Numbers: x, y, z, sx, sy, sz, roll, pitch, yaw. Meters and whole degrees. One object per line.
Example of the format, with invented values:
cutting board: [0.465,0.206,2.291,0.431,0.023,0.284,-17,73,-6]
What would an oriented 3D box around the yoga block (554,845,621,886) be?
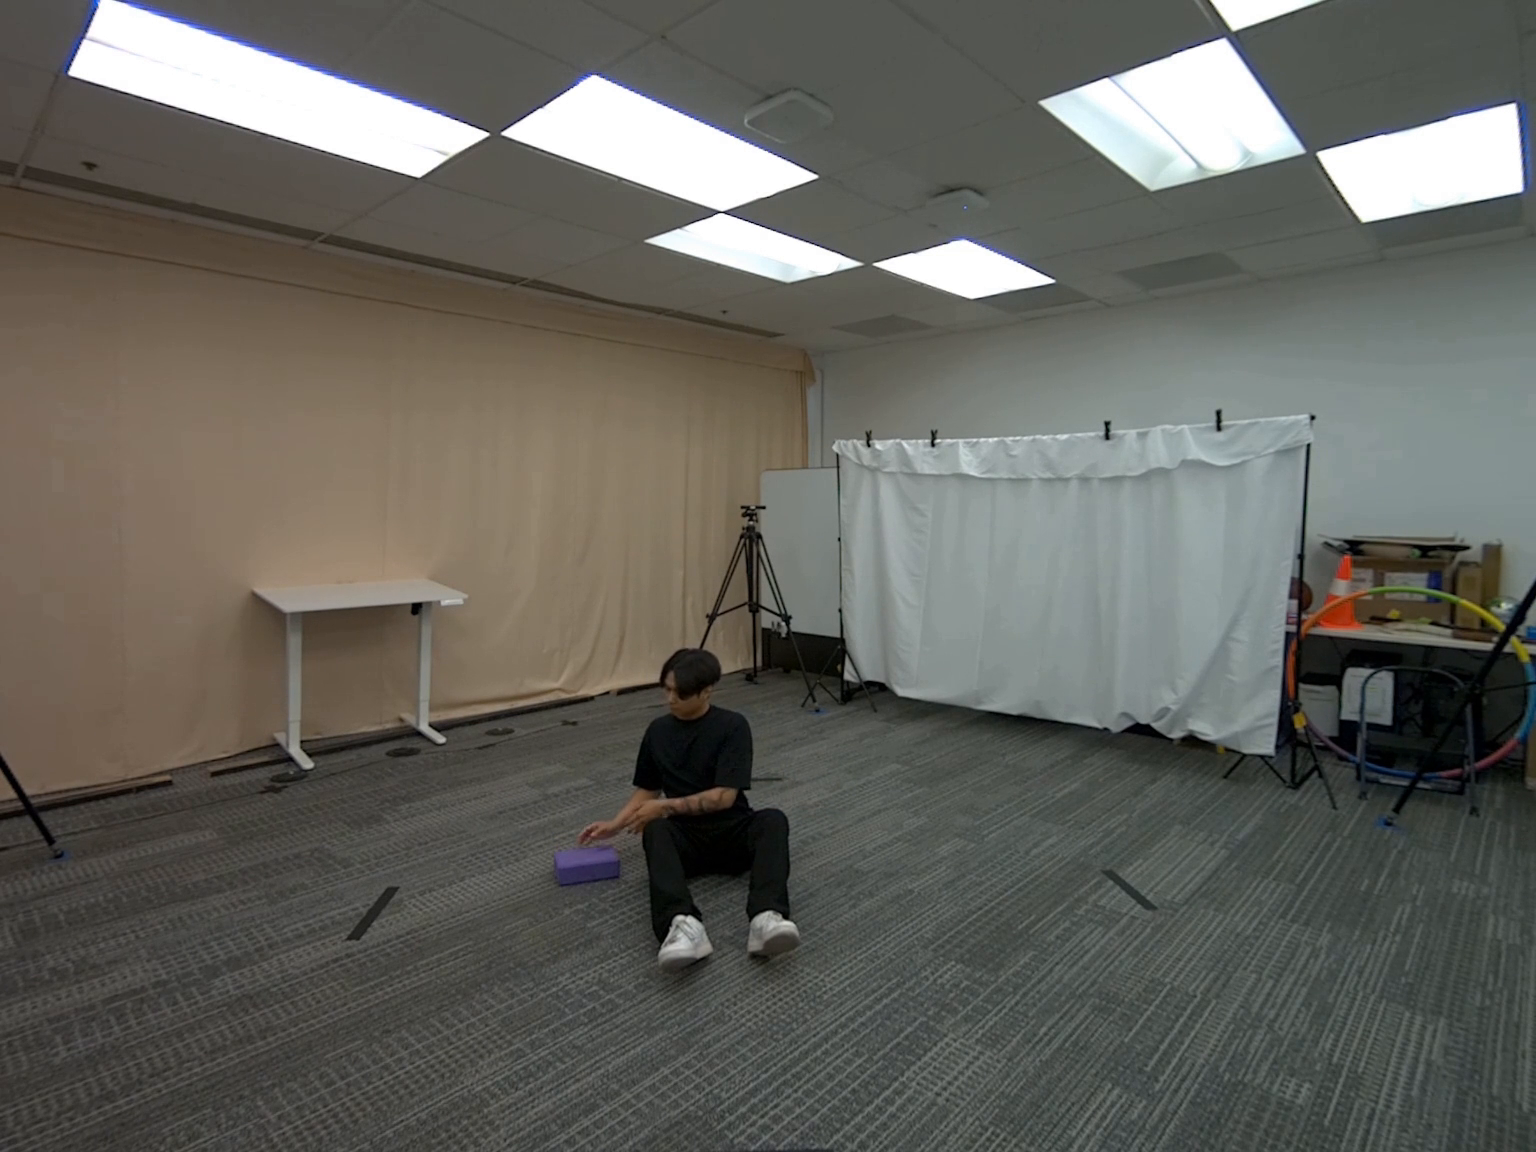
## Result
yoga block: [-0.687,1.097,3.194,0.225,0.076,0.152,-2,5,-18]
